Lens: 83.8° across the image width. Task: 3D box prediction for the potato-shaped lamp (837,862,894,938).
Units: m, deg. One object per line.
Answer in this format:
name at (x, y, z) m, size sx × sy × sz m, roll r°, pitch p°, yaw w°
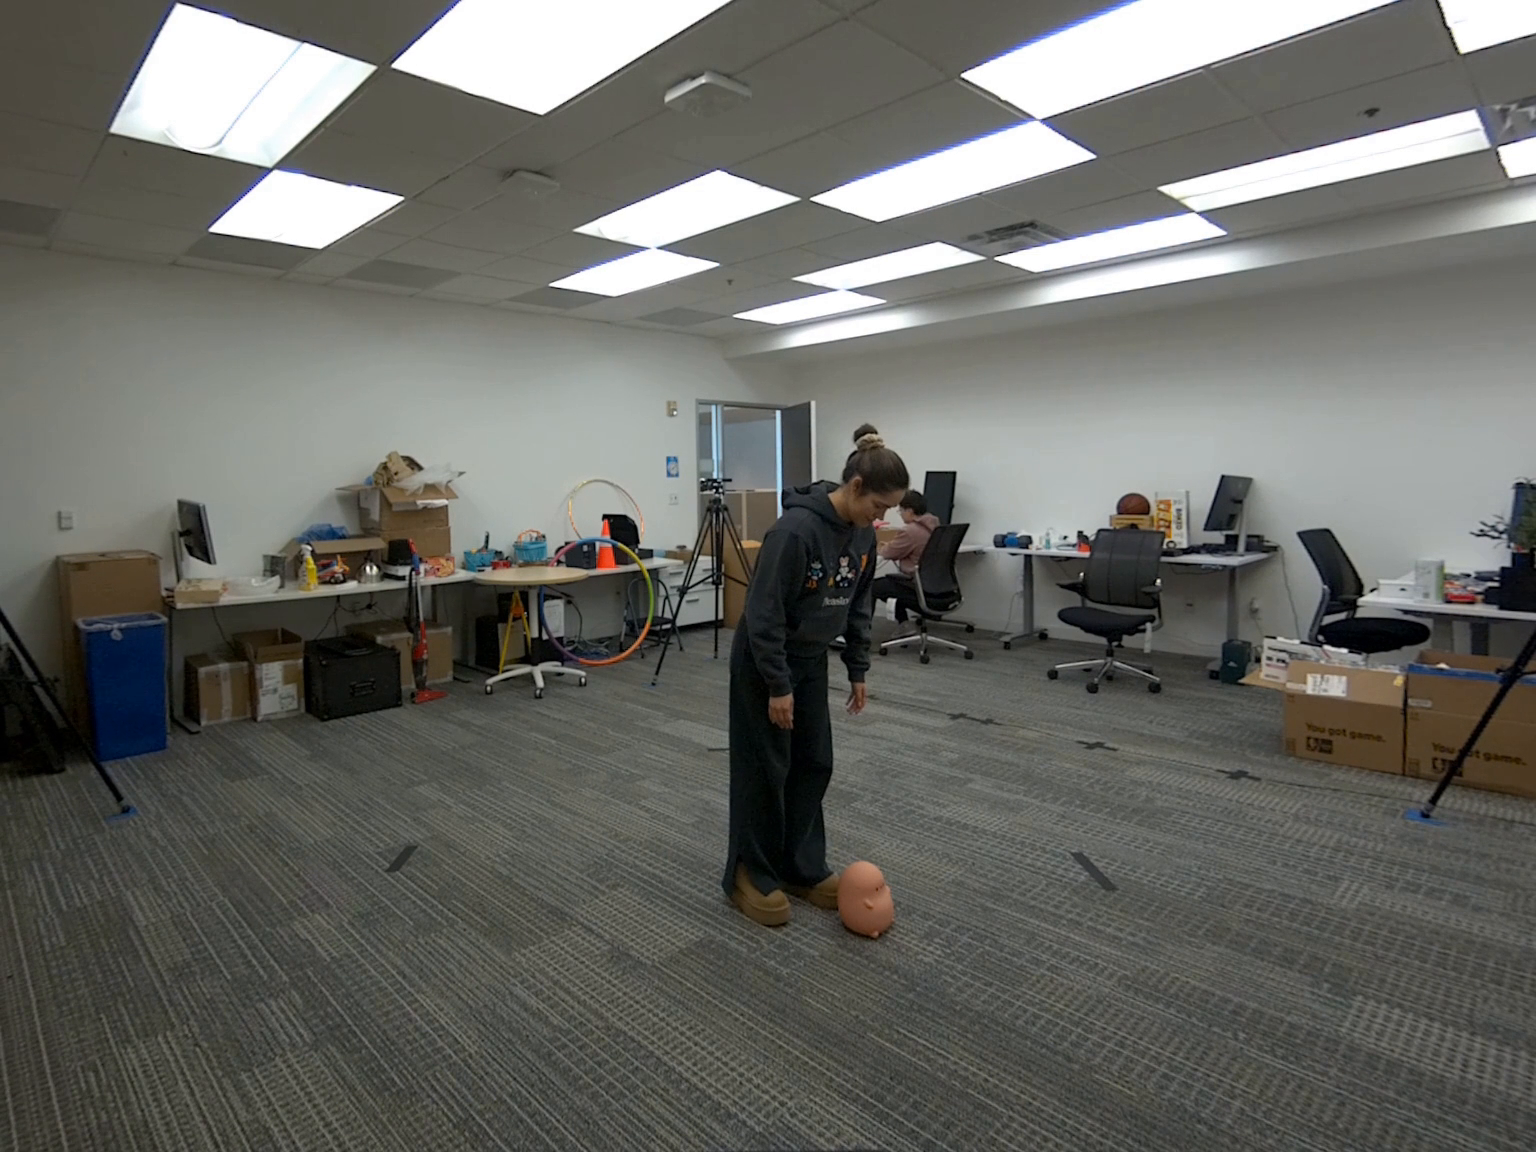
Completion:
potato-shaped lamp at (0.304, 0.990, 2.637) m, size 0.176 × 0.198 × 0.160 m, roll -1°, pitch 2°, yaw 34°
